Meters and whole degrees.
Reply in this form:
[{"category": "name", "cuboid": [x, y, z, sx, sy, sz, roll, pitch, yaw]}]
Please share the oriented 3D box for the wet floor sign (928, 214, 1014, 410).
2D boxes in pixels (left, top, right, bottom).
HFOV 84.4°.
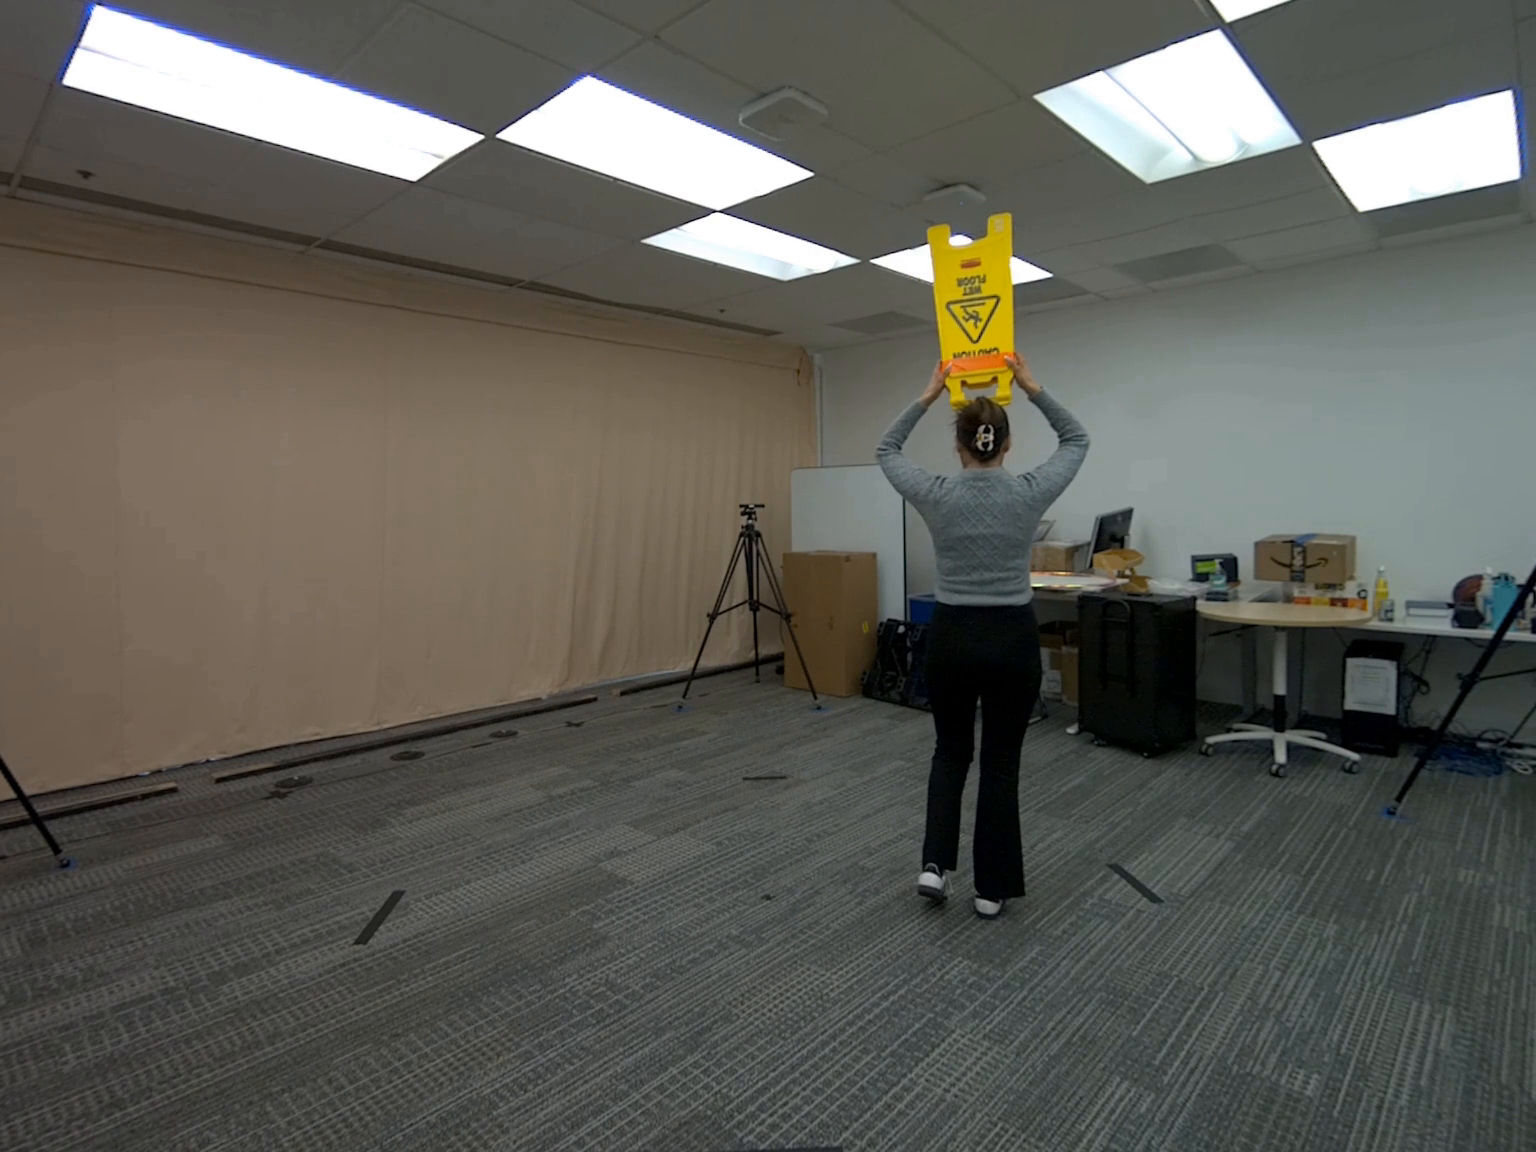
[{"category": "wet floor sign", "cuboid": [0.732, -0.878, 2.932, 0.287, 0.653, 0.281, -4, -19, 18]}]
